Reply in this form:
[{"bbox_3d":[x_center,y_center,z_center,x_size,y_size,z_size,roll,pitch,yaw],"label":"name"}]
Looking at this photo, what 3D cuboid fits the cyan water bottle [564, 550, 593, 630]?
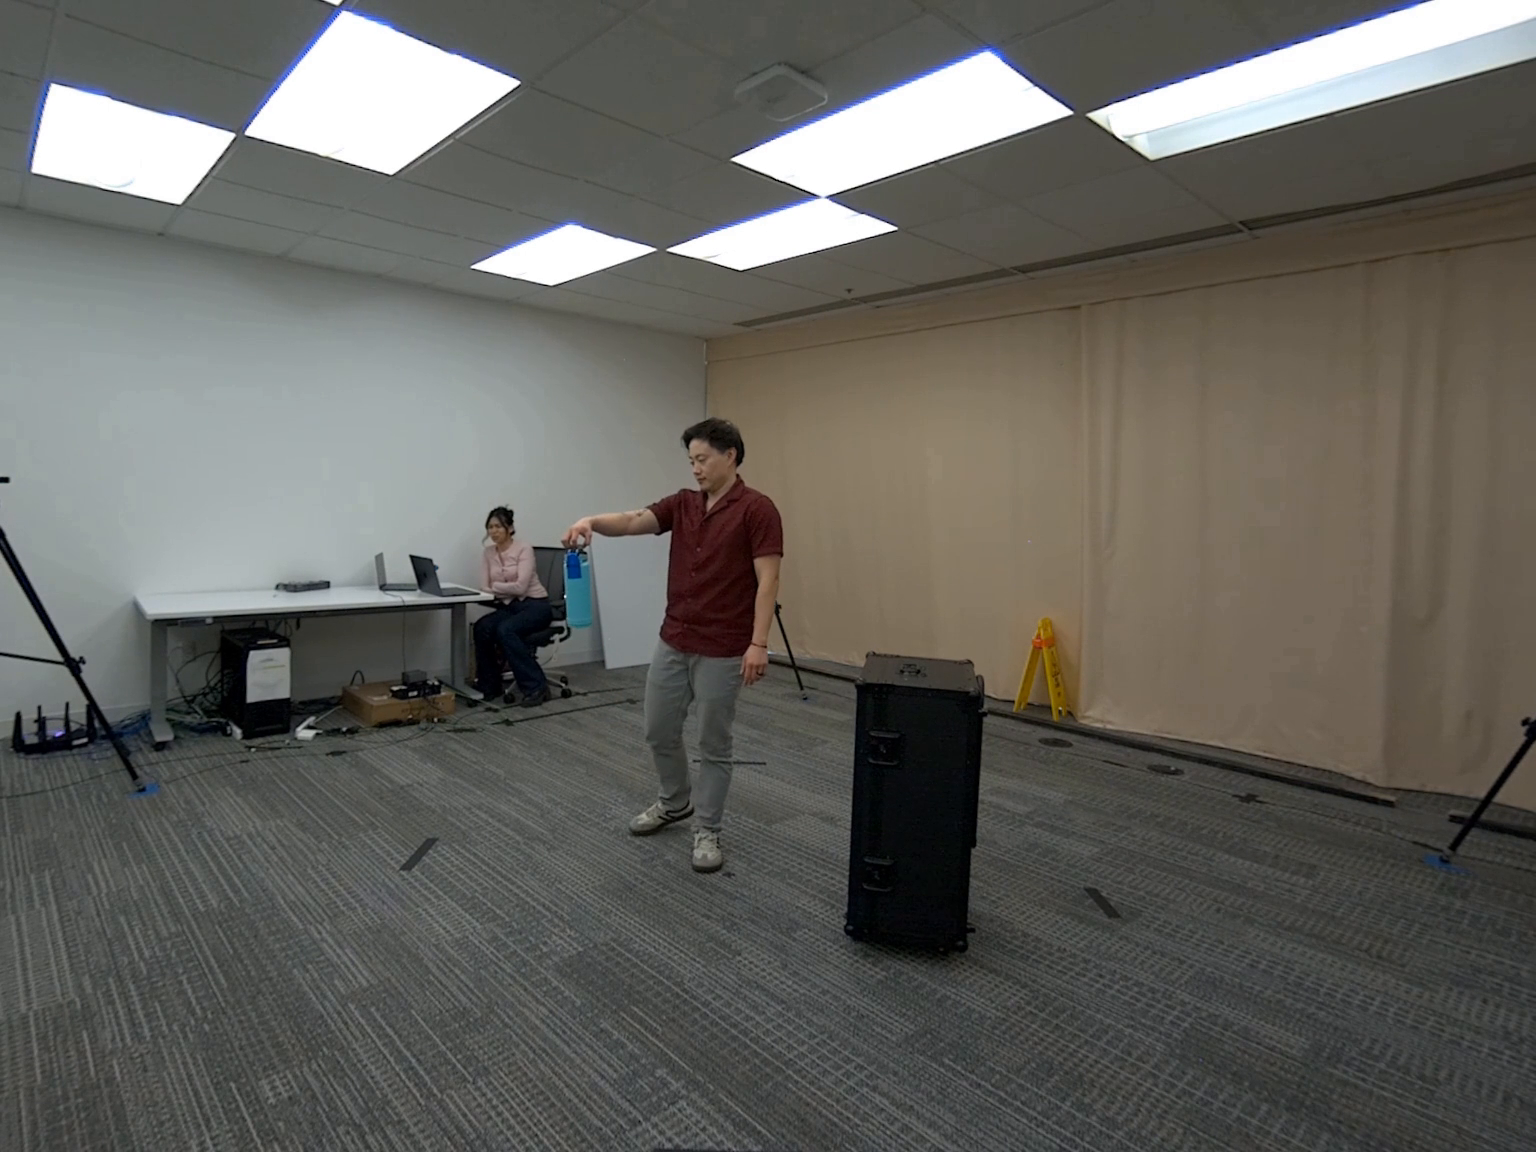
[{"bbox_3d":[-0.672,0.032,2.924,0.092,0.282,0.093,0,8,-1],"label":"cyan water bottle"}]
